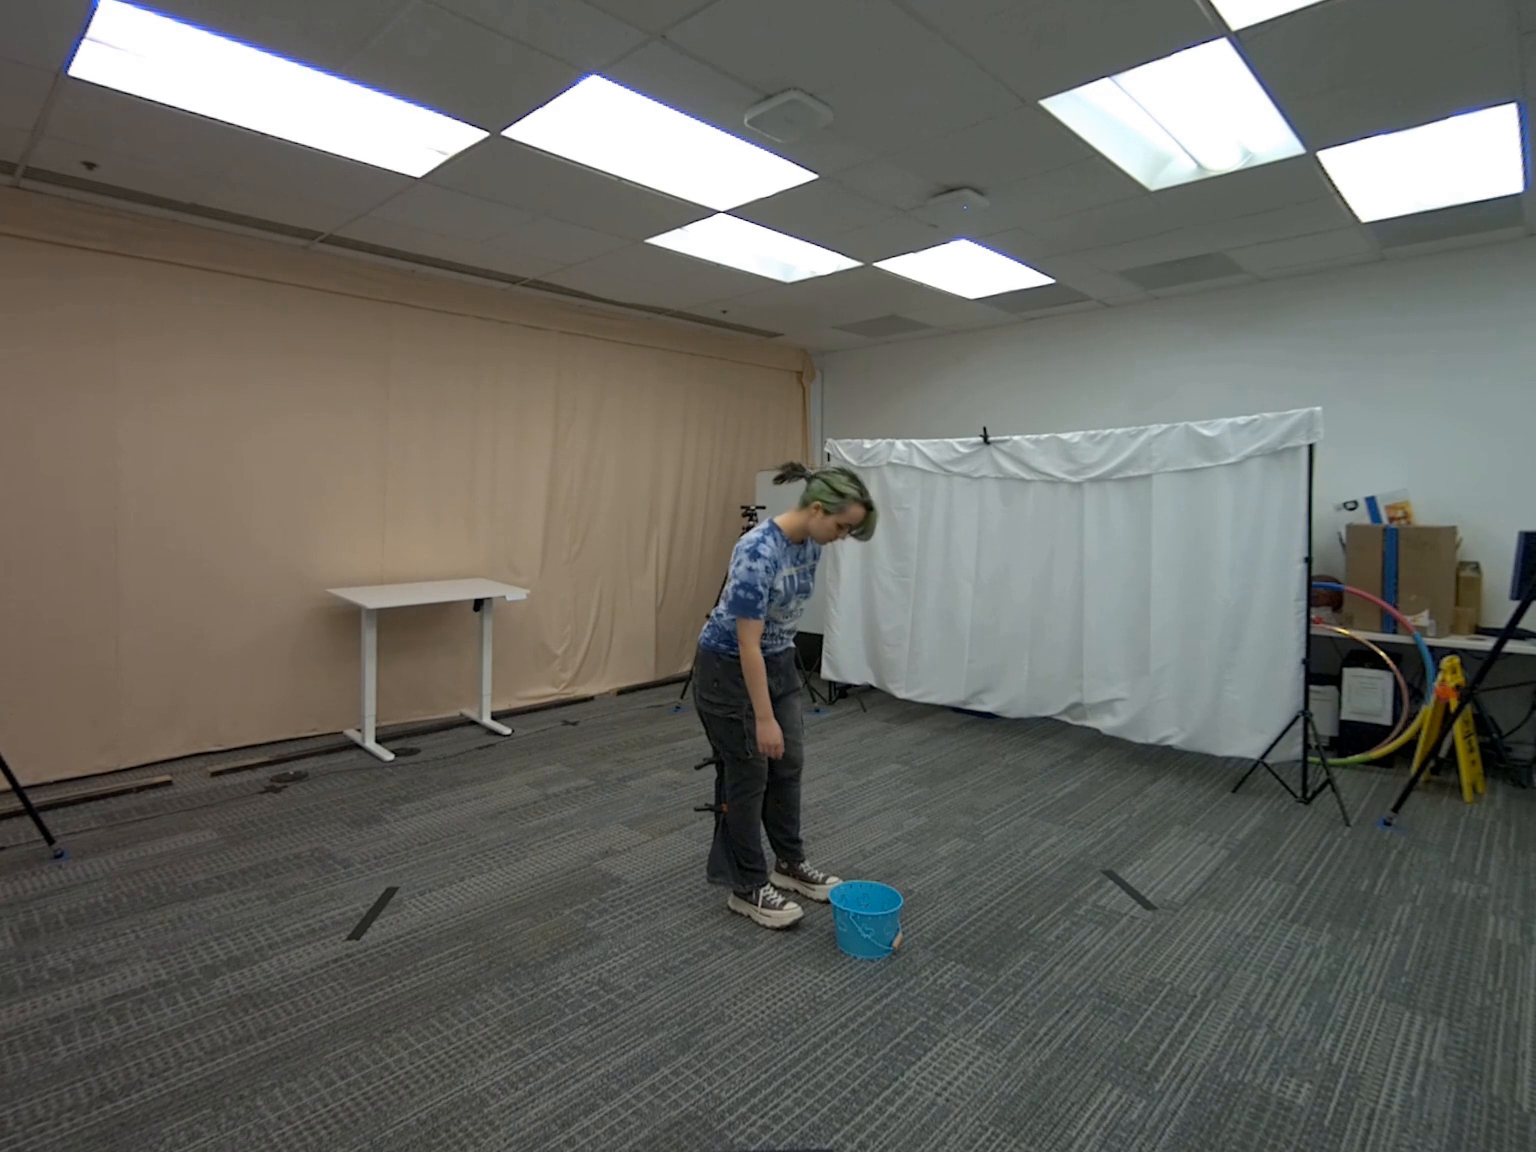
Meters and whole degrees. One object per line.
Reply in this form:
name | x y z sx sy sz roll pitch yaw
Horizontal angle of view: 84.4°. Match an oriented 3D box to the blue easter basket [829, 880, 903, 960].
blue easter basket | 0.313 1.092 2.666 0.243 0.155 0.244 0 4 -2
